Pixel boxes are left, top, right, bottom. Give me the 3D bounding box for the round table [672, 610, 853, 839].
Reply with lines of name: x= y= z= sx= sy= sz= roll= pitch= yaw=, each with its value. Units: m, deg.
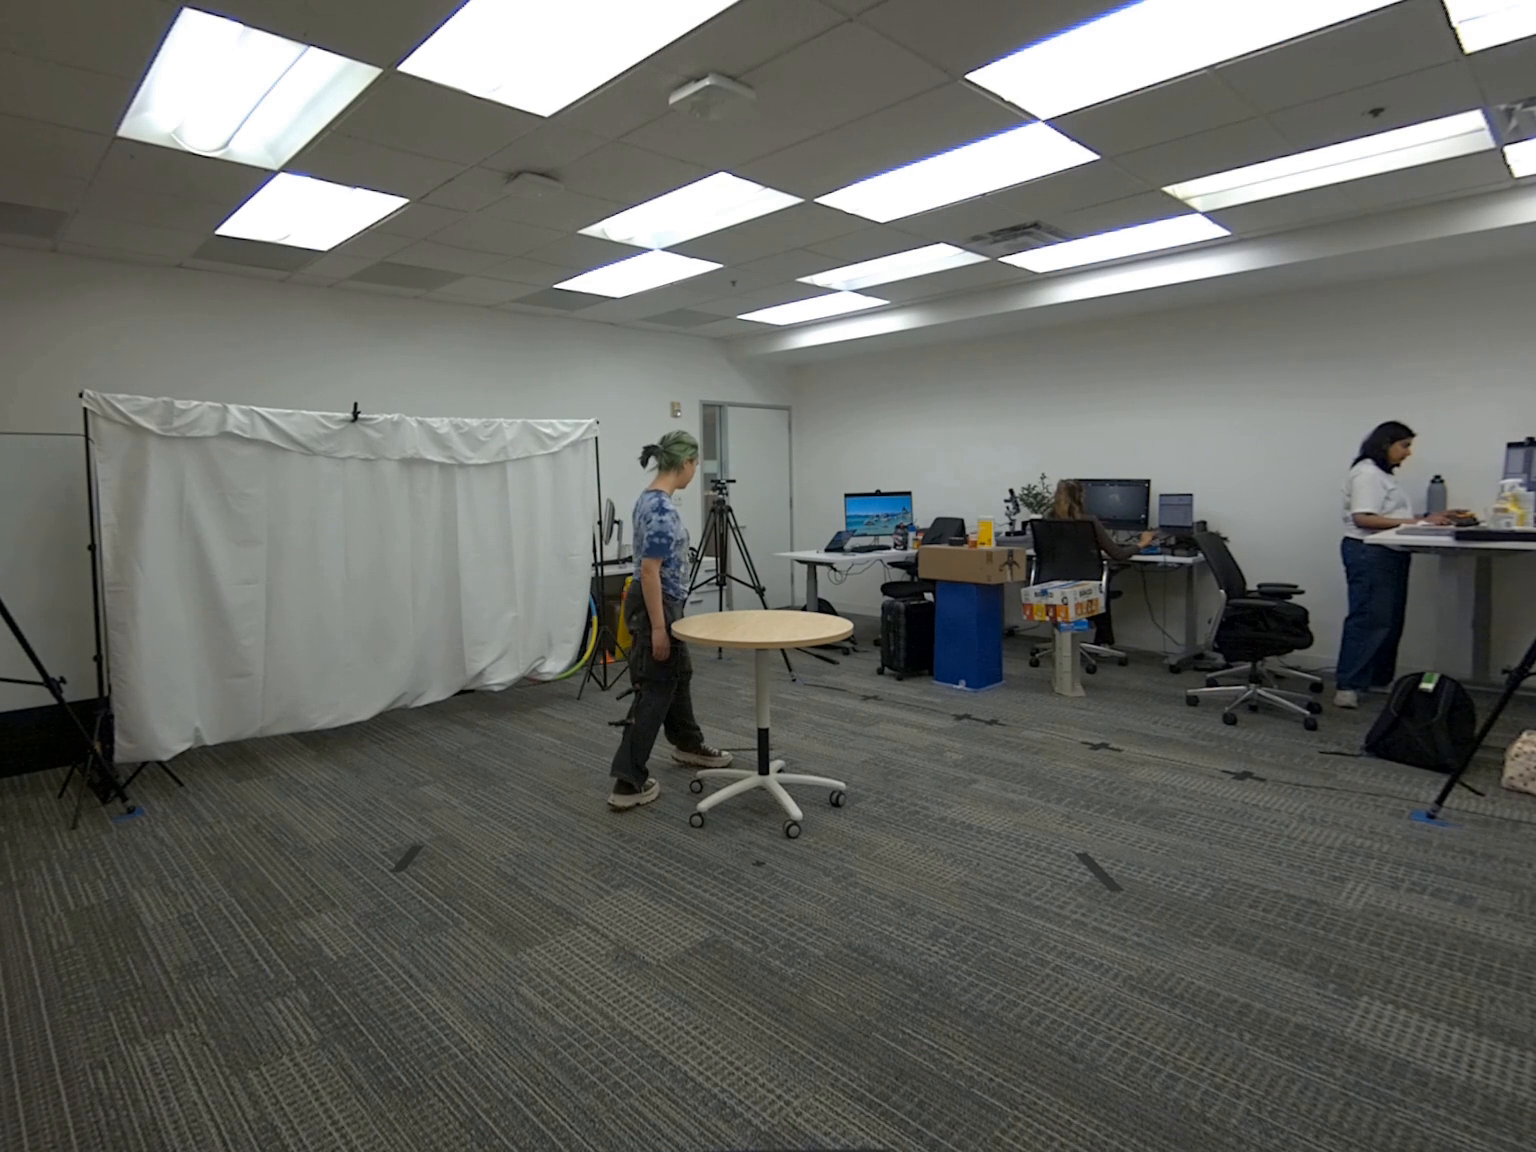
round table: x=-0.025 y=0.599 z=3.620 sx=0.763 sy=0.791 sz=0.768 roll=-1 pitch=5 yaw=-2
